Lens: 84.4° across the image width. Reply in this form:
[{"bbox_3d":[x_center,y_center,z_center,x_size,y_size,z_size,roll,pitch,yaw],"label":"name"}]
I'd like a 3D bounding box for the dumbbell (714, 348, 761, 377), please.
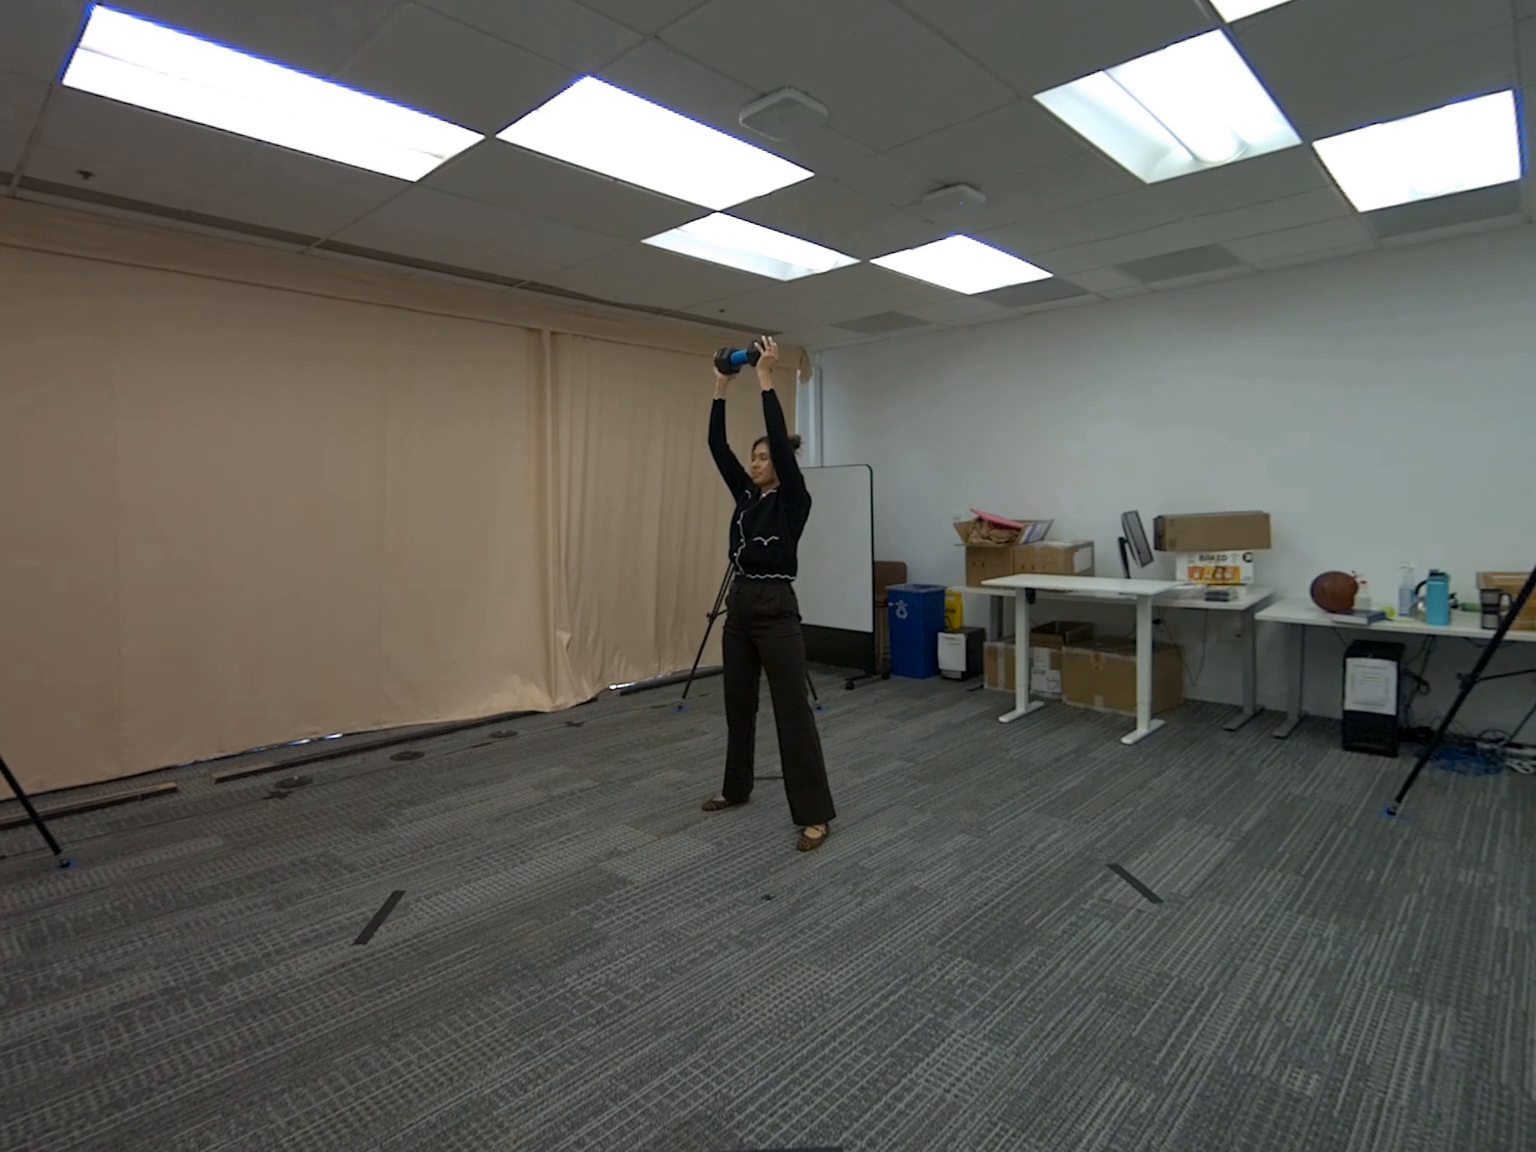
[{"bbox_3d":[-0.092,-0.916,3.572,0.303,0.123,0.105,6,-29,50],"label":"dumbbell"}]
